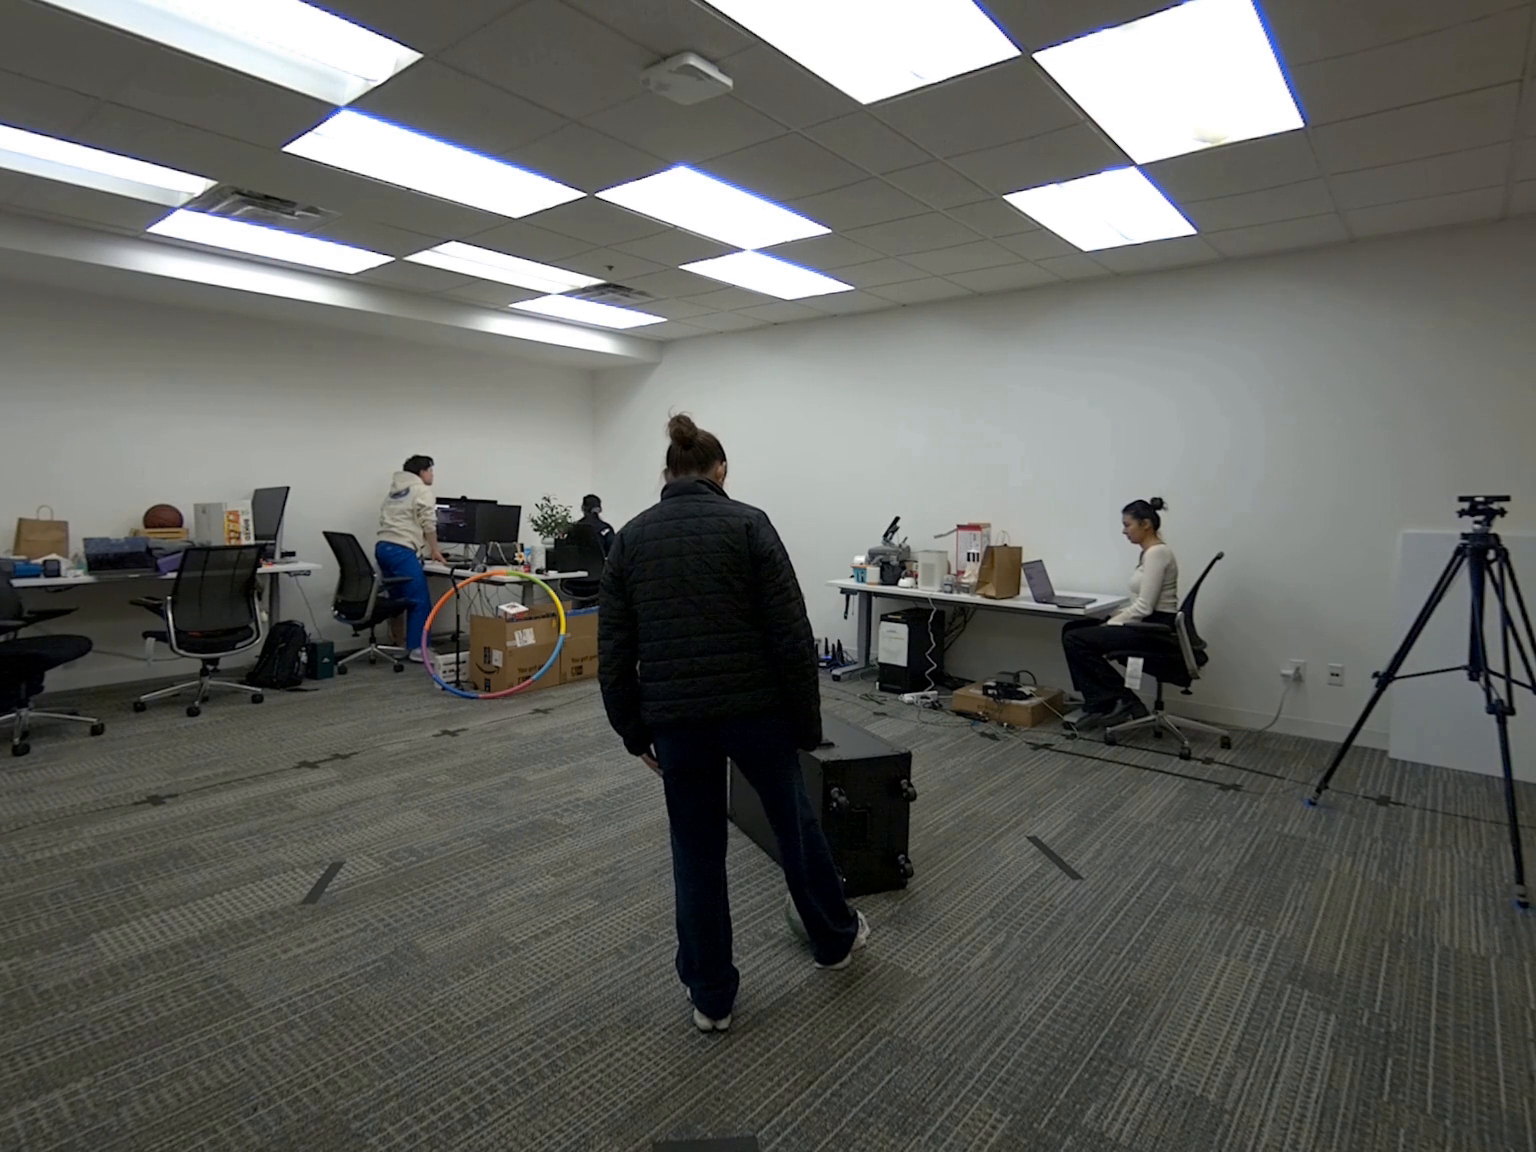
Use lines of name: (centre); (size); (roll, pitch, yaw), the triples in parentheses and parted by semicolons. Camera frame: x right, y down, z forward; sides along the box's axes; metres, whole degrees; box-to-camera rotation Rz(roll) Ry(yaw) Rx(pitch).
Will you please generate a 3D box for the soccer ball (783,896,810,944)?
soccer ball: (0.137, 1.015, 2.623); (0.187, 0.187, 0.188); (1, 4, -2)
